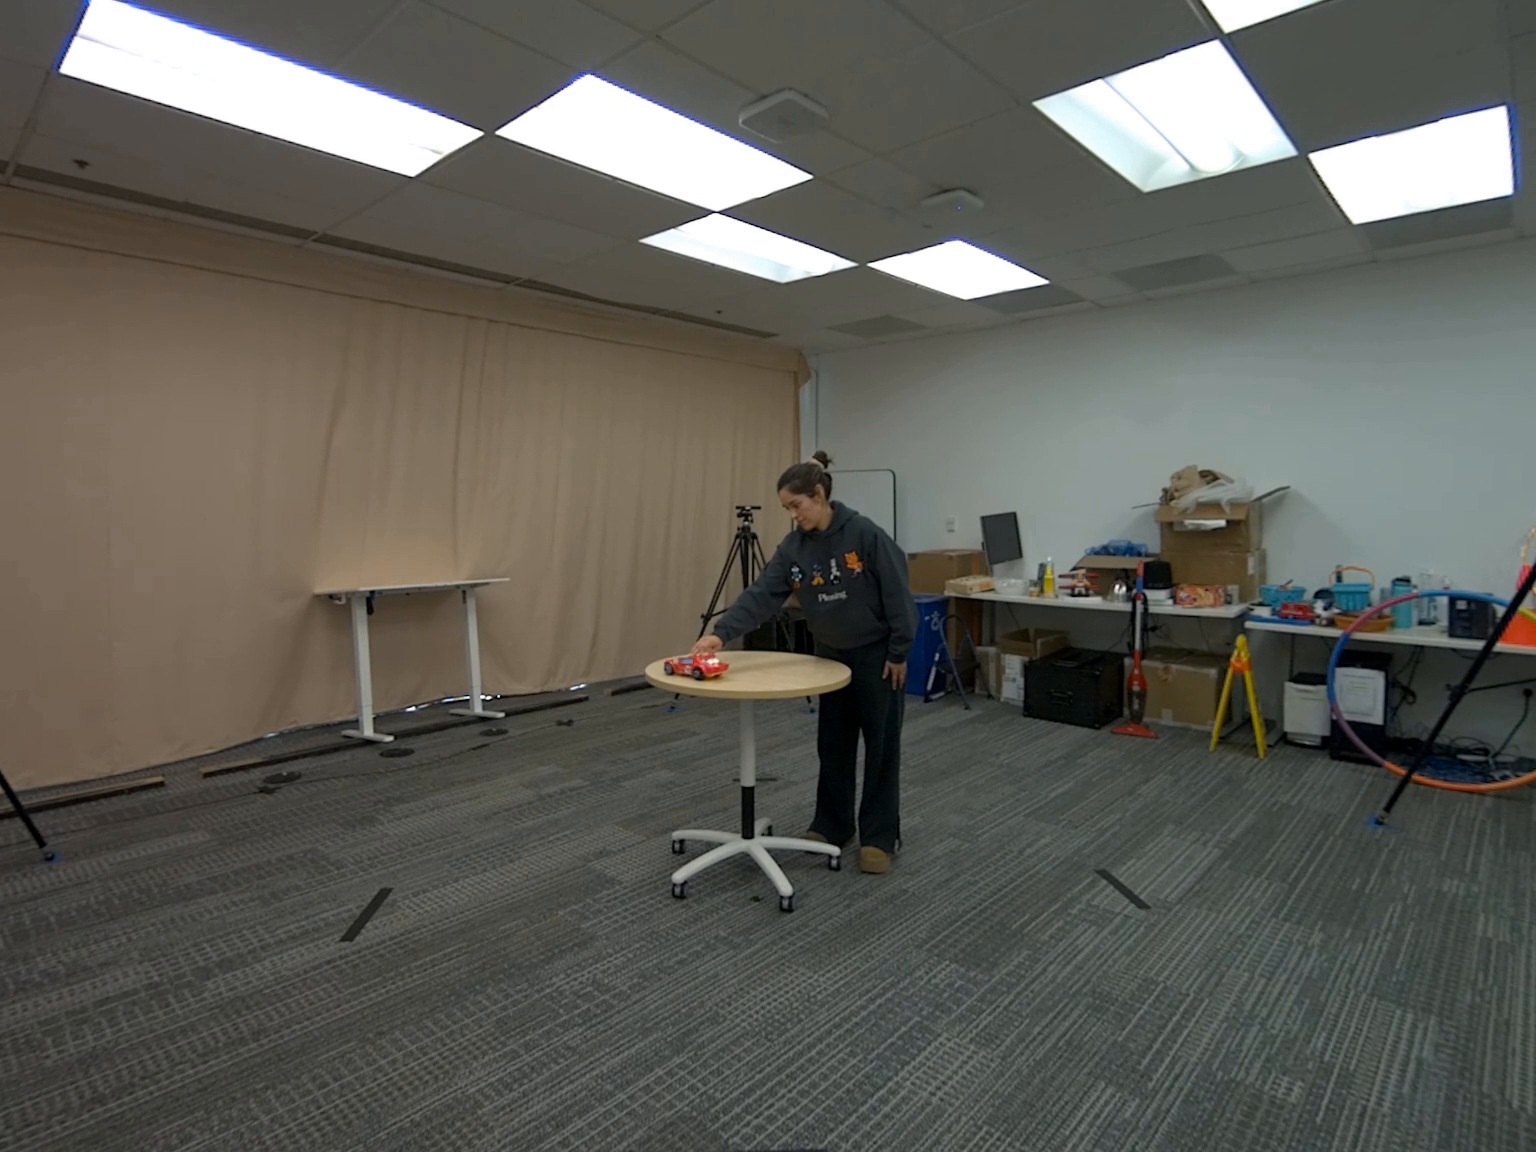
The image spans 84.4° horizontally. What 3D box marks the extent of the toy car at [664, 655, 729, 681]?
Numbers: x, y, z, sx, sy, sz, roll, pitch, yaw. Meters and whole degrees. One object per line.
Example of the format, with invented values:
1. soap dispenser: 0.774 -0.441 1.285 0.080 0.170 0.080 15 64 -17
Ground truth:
1. toy car: -0.233 0.328 3.004 0.261 0.083 0.126 -11 -3 40
